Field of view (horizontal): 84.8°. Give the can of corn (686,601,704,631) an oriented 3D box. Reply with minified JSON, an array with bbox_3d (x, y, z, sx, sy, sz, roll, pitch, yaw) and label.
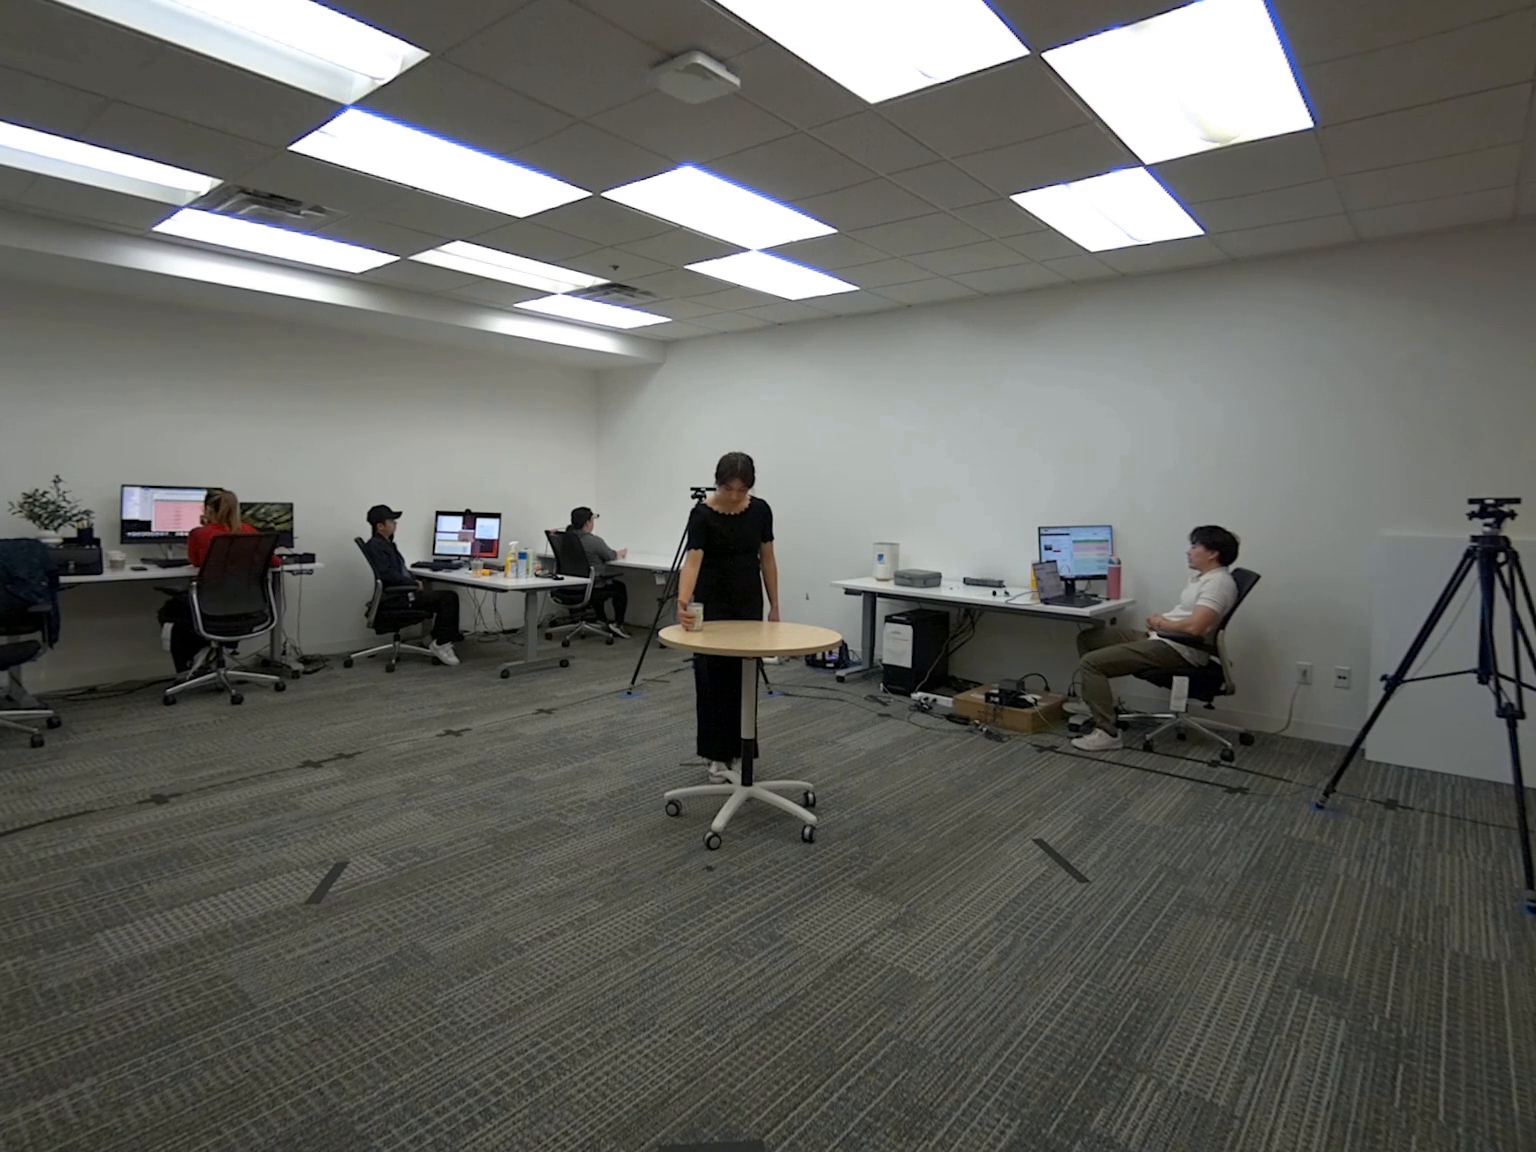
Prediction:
[{"bbox_3d":[-0.331,0.176,3.640,0.074,0.111,0.074,-4,1,-2],"label":"can of corn"}]
